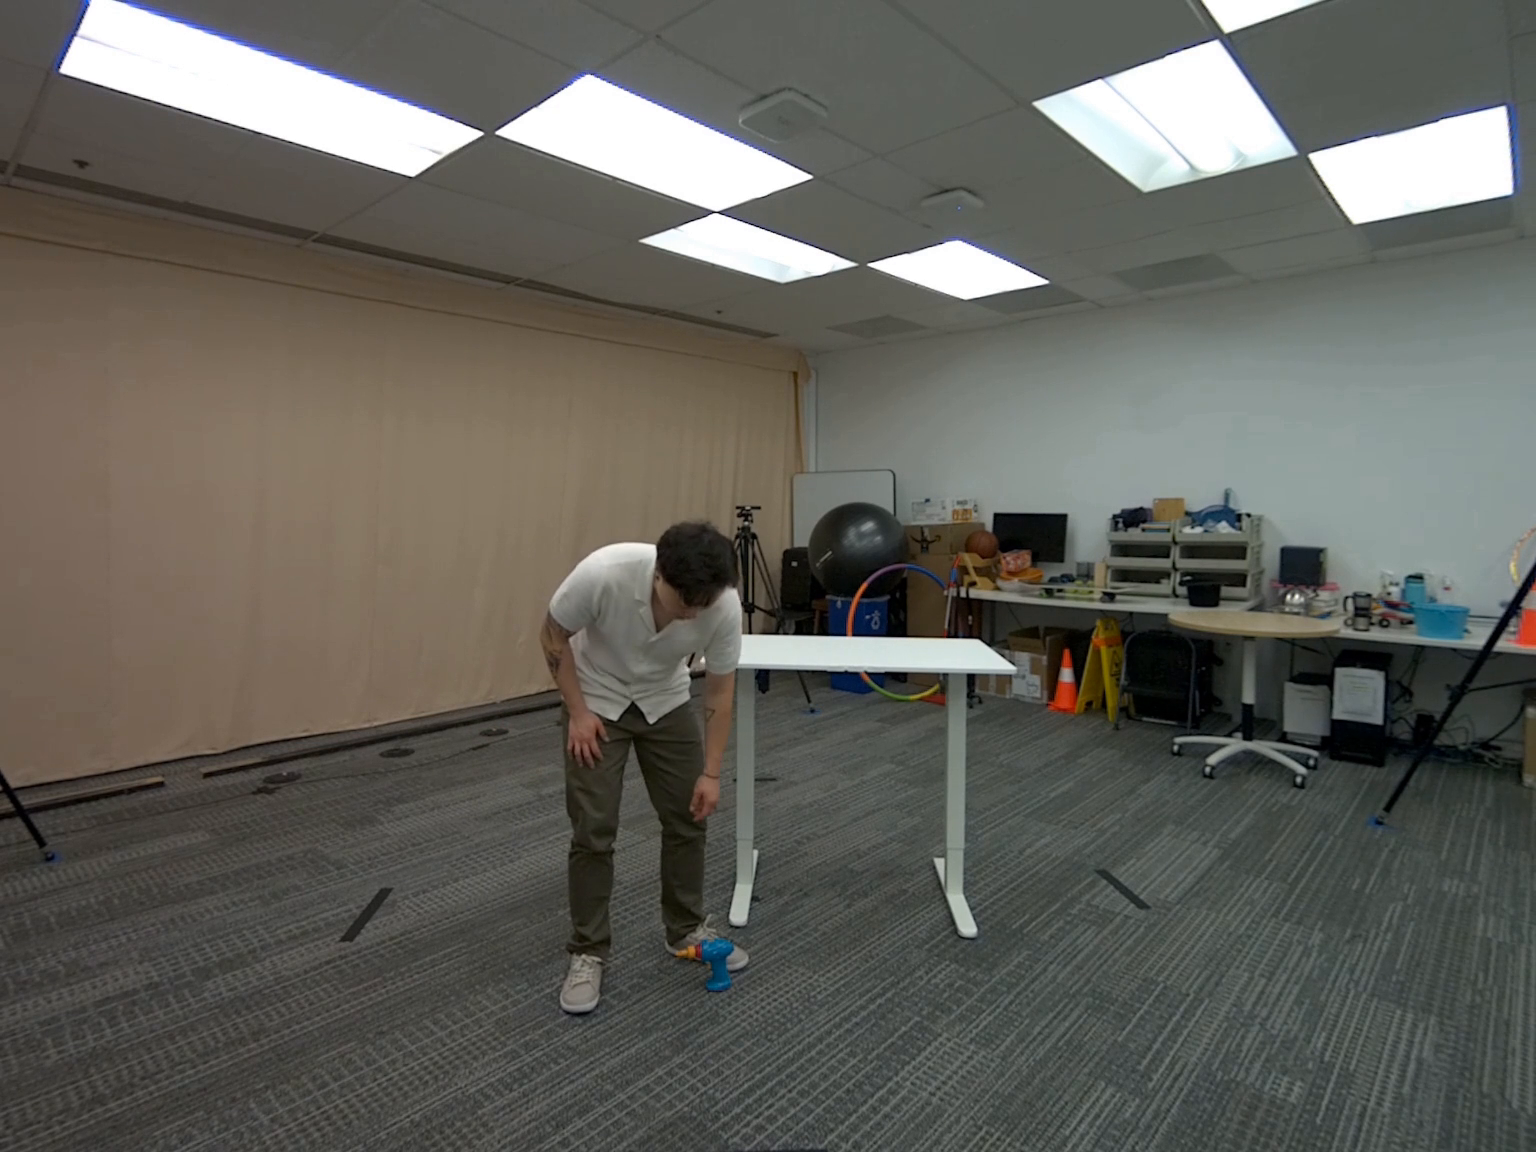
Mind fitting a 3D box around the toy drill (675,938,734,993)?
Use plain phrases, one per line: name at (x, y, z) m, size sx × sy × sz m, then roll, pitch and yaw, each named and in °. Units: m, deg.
toy drill at (-0.182, 1.125, 2.413) m, size 0.169 × 0.146 × 0.061 m, roll -1°, pitch 1°, yaw -5°
